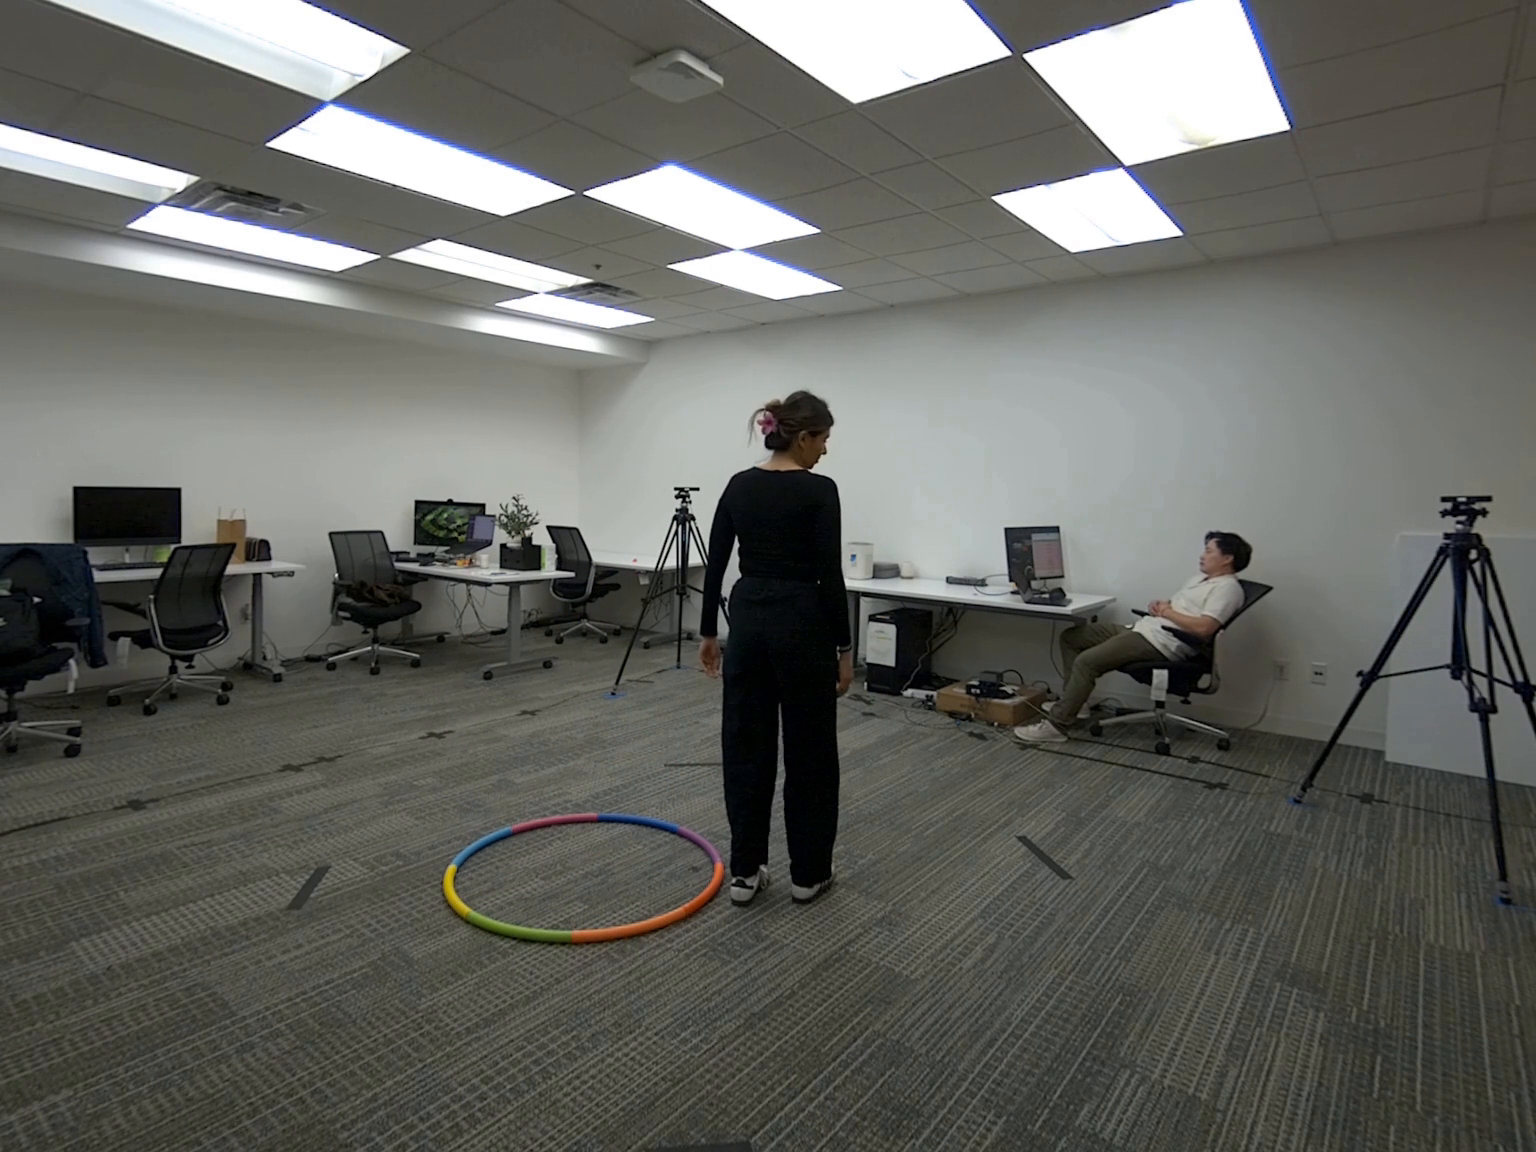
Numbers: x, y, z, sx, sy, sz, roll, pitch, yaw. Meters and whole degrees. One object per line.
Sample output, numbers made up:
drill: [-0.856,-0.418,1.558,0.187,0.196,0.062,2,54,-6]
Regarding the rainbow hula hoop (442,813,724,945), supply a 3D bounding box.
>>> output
rainbow hula hoop: [-0.656,1.034,3.057,0.978,0.035,0.984,1,6,-2]
